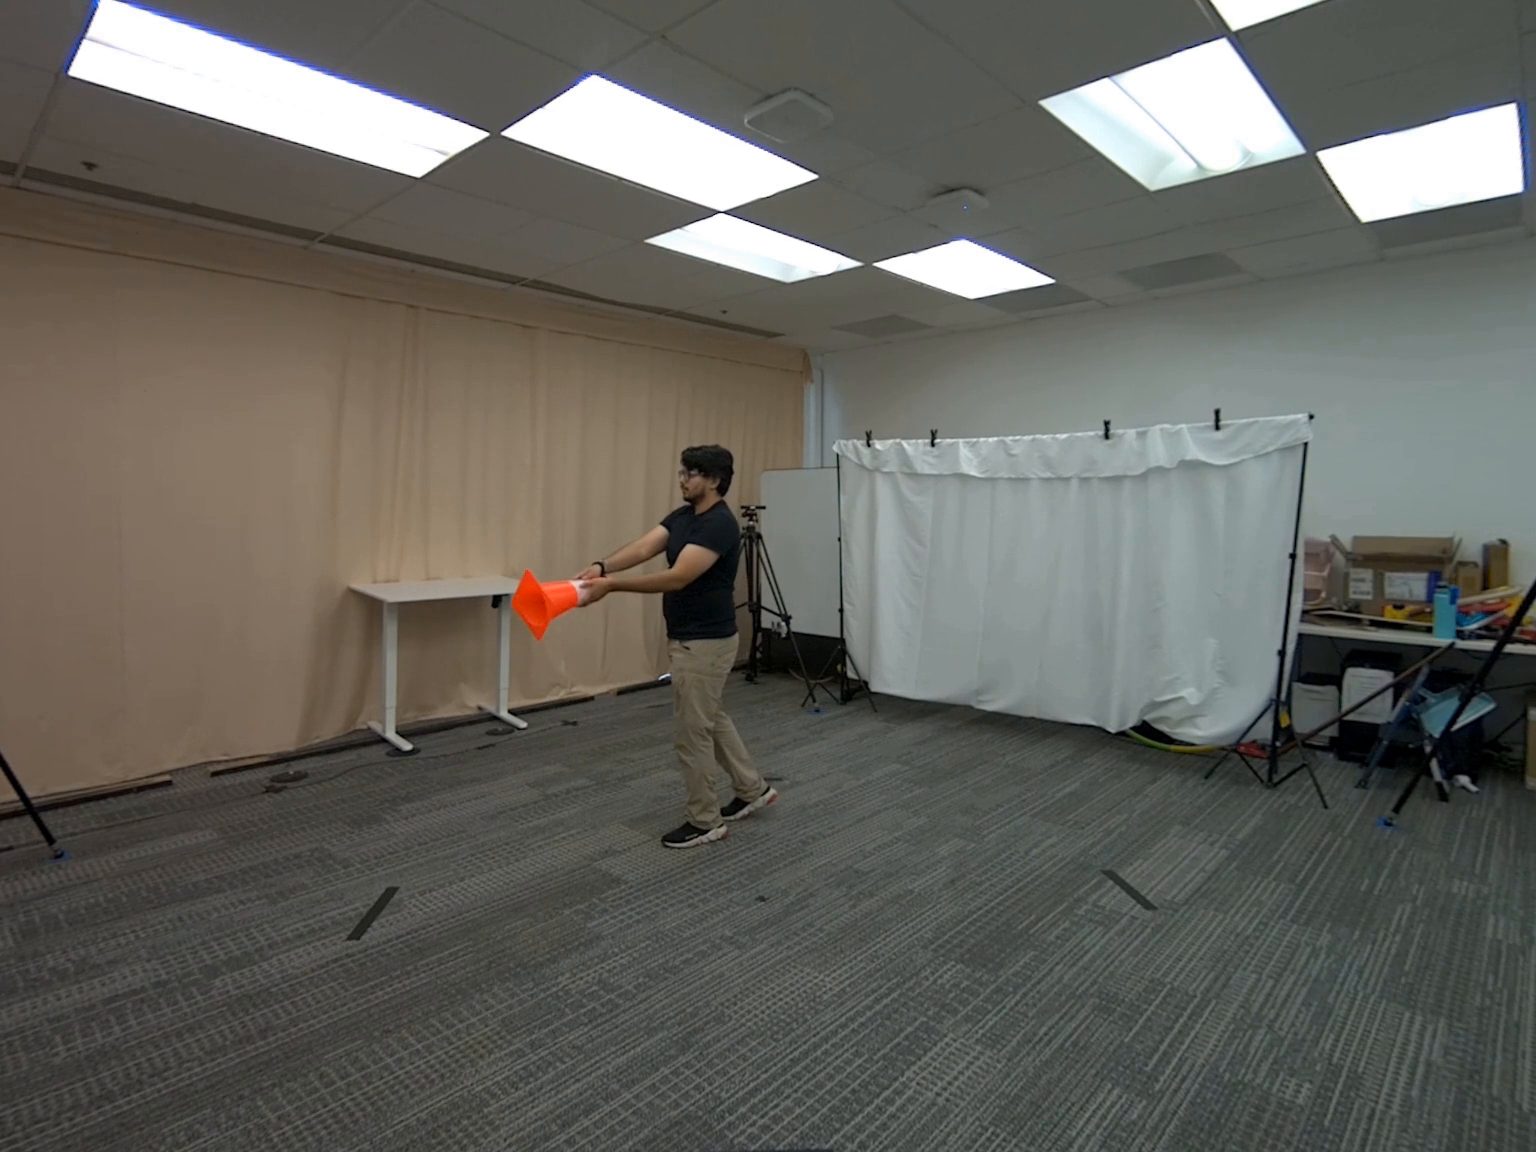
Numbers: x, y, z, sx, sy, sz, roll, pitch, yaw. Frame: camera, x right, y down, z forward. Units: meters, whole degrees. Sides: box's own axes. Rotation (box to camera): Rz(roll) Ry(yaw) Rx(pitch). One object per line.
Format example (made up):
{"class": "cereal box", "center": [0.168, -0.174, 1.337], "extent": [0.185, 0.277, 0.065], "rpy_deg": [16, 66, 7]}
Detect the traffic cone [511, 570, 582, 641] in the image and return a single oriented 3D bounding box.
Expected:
{"class": "traffic cone", "center": [-0.733, 0.062, 3.183], "extent": [0.374, 0.205, 0.208], "rpy_deg": [-16, 57, -47]}
